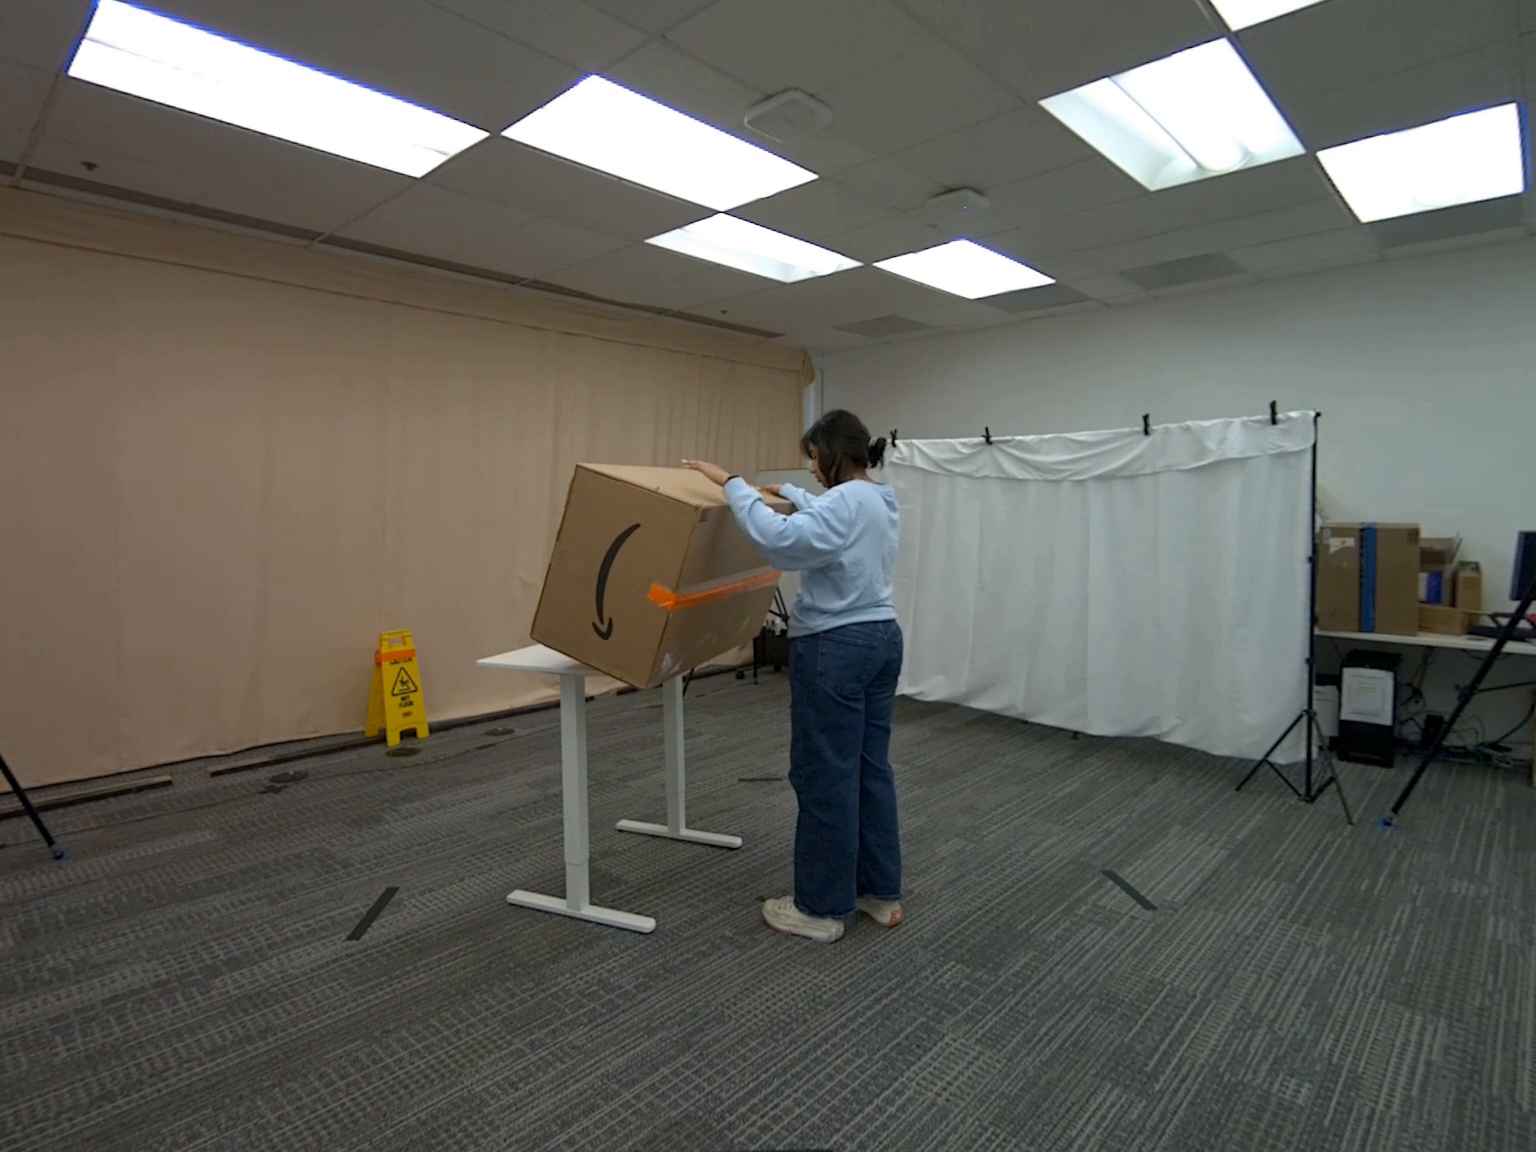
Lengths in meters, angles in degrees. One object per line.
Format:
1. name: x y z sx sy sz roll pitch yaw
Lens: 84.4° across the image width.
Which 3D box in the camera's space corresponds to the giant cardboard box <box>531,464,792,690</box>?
1. giant cardboard box: -0.300 -0.048 2.957 0.435 0.576 1.006 22 12 17
